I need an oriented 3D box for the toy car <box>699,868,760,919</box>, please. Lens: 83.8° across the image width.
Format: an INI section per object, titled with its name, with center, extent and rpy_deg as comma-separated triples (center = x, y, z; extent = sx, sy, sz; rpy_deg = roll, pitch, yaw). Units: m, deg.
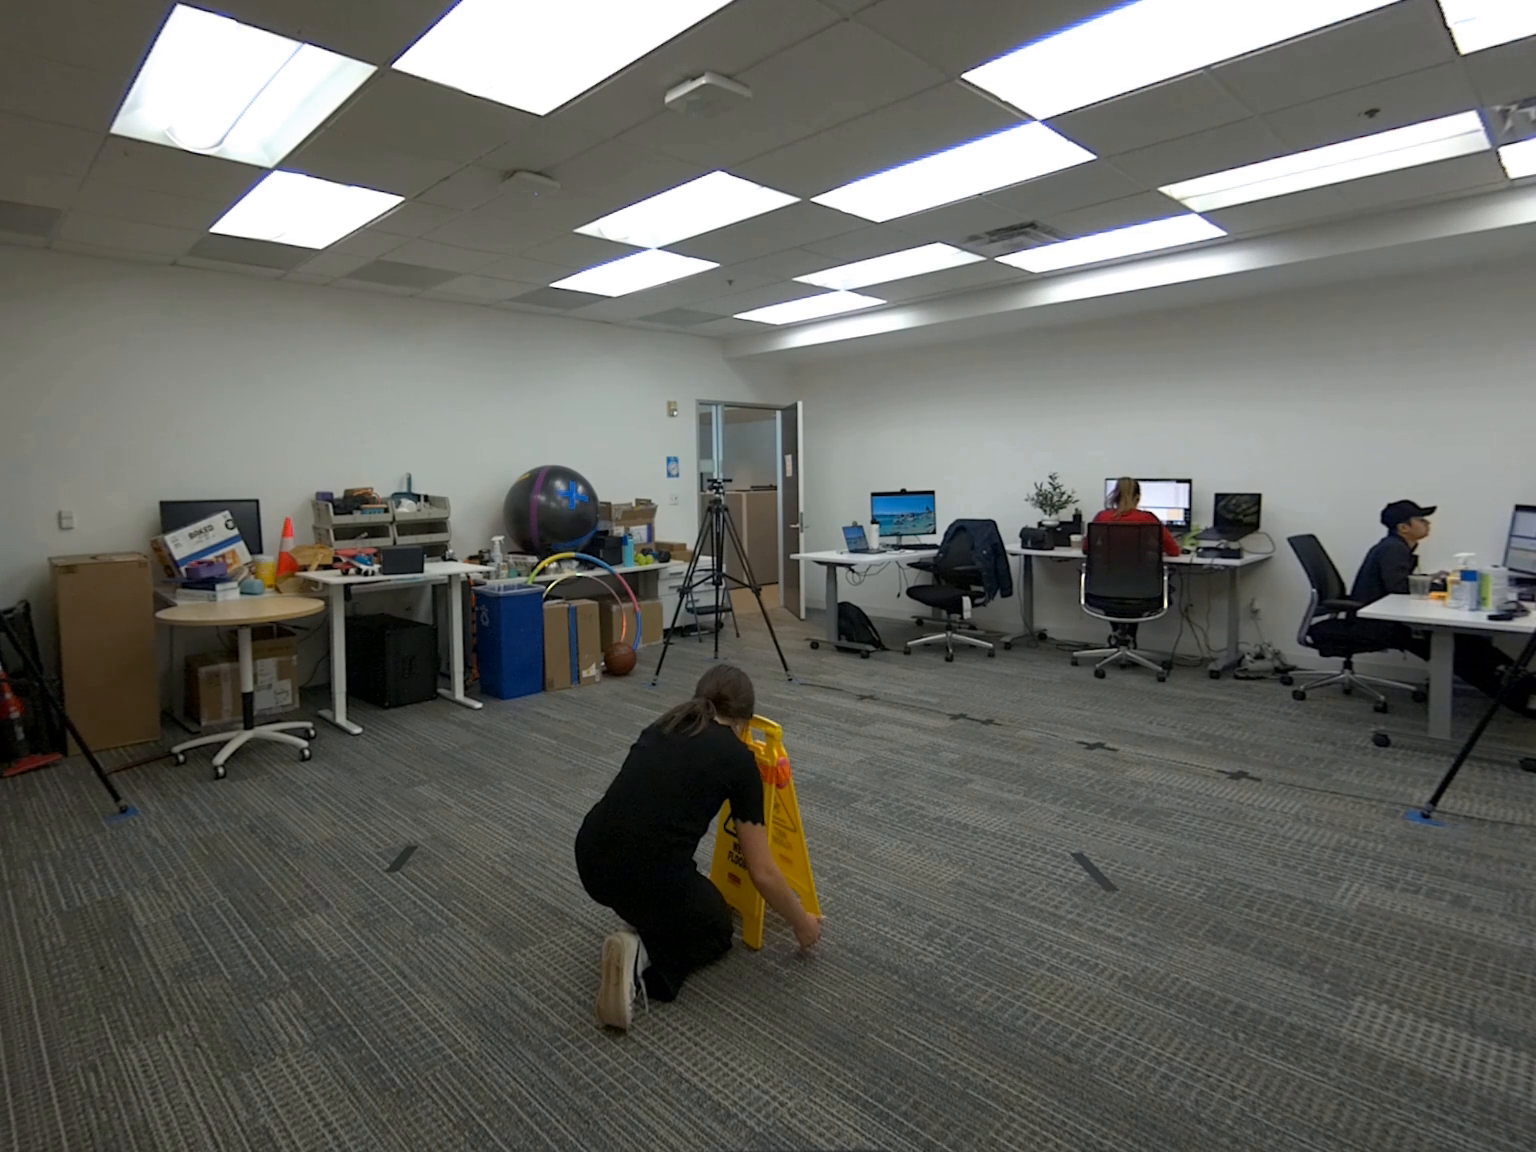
[toy car]
center = -0.174, 1.046, 2.837
extent = 0.260, 0.083, 0.127
rpy_deg = -8, 1, 38
